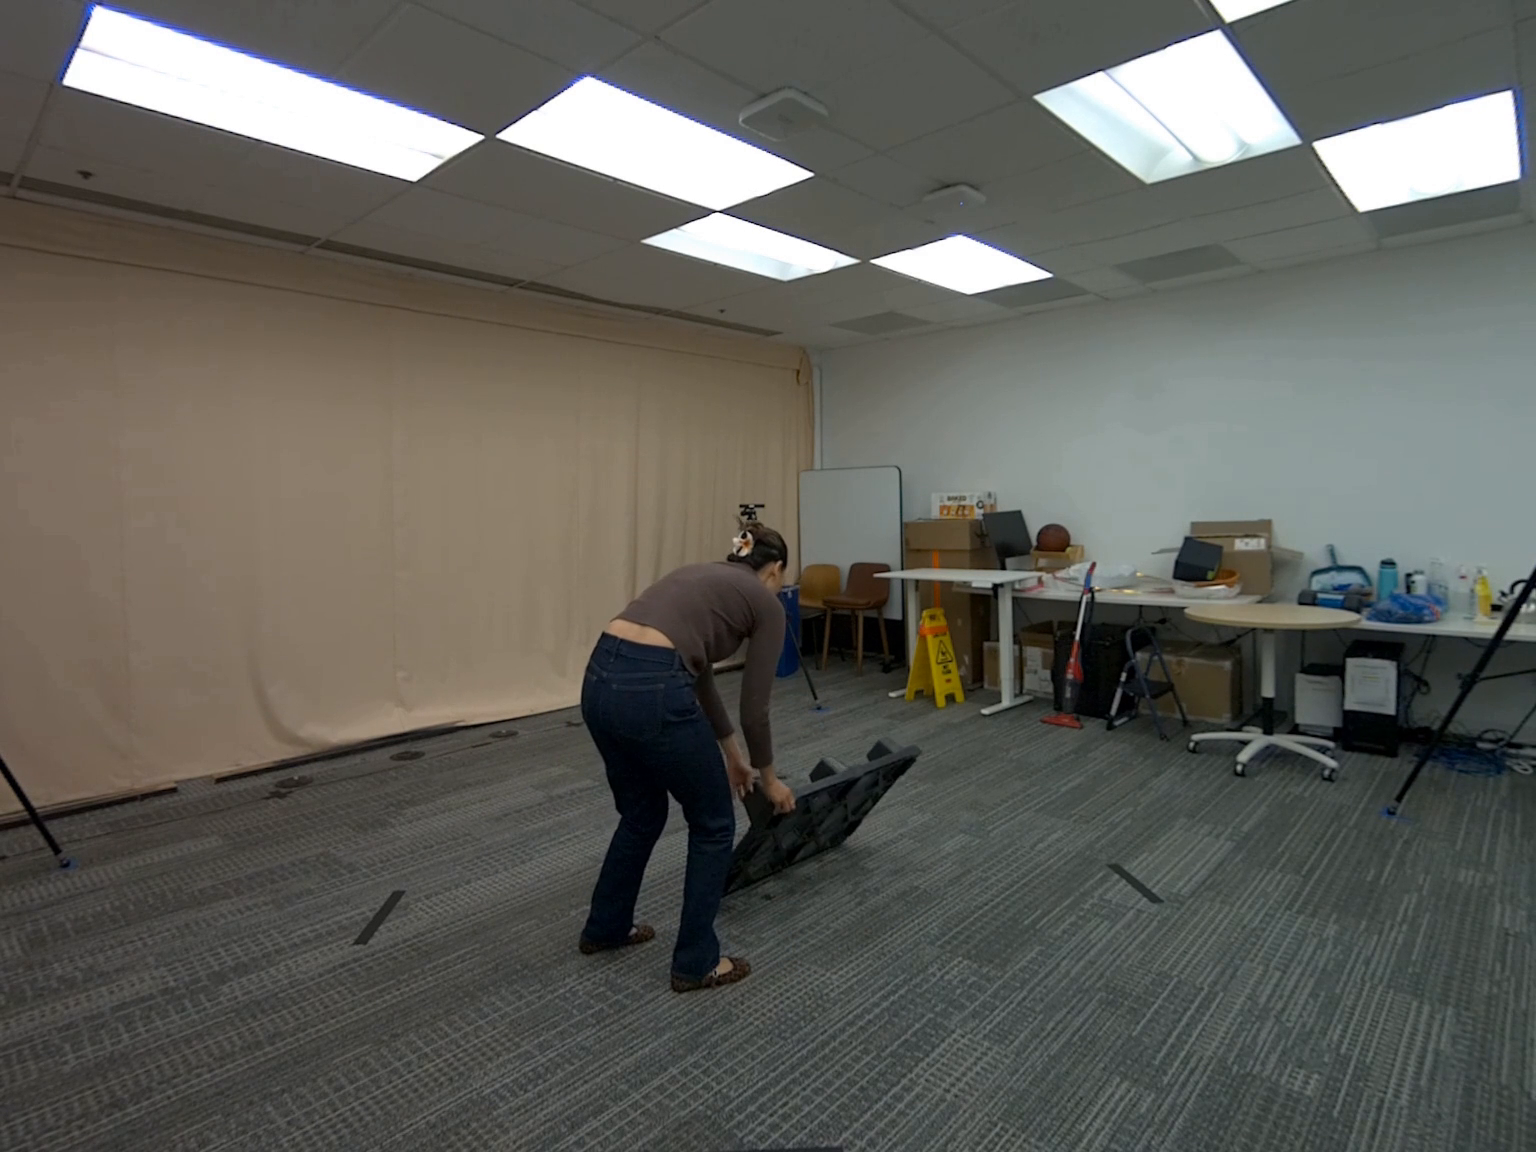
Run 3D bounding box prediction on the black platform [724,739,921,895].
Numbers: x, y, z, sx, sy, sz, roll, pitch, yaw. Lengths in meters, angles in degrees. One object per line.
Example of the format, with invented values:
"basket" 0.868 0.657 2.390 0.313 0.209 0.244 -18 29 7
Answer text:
"black platform" 0.141 0.865 3.053 0.781 0.605 0.148 -5 47 -45
